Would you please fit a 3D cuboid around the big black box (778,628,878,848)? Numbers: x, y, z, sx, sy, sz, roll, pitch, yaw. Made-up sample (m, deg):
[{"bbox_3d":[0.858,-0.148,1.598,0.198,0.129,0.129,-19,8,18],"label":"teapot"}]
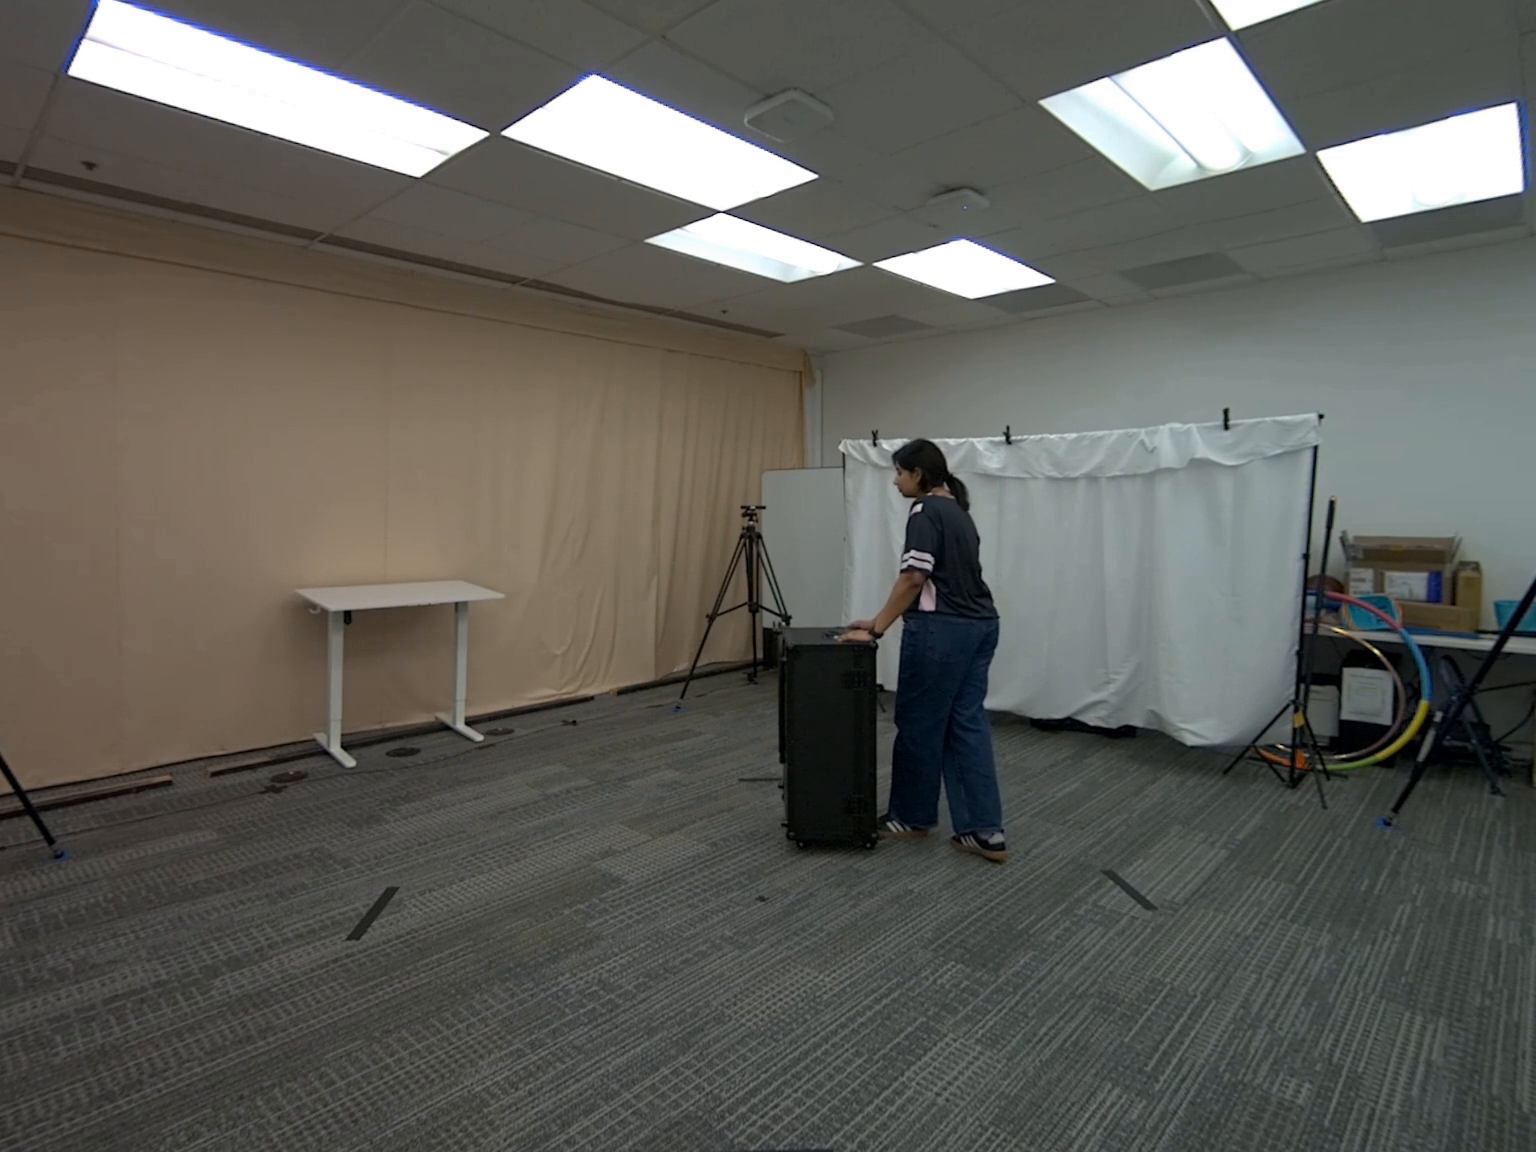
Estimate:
[{"bbox_3d":[0.247,0.674,3.543,0.386,0.867,0.524,0,3,0],"label":"big black box"}]
